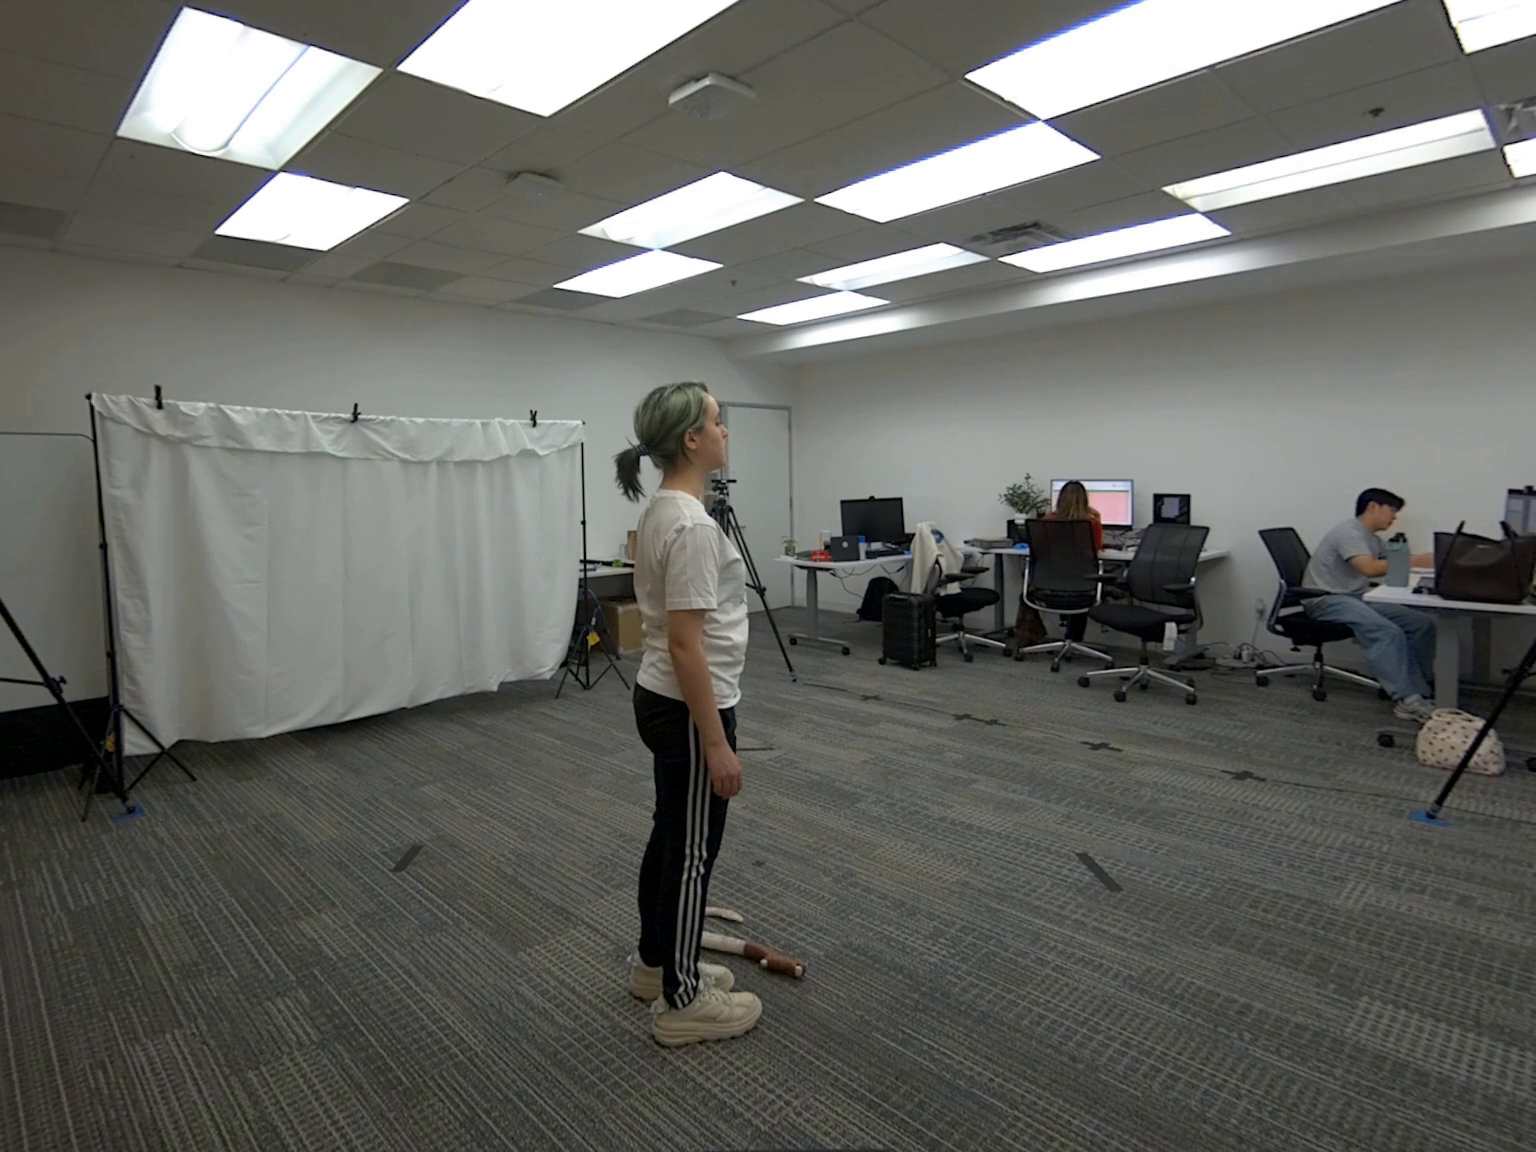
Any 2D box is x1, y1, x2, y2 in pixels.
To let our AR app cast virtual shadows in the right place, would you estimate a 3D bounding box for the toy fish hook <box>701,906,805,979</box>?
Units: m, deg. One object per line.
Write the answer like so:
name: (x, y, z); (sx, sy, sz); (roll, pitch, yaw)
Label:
toy fish hook: (-0.077, 1.087, 2.575); (0.521, 0.048, 0.219); (4, 10, 36)
